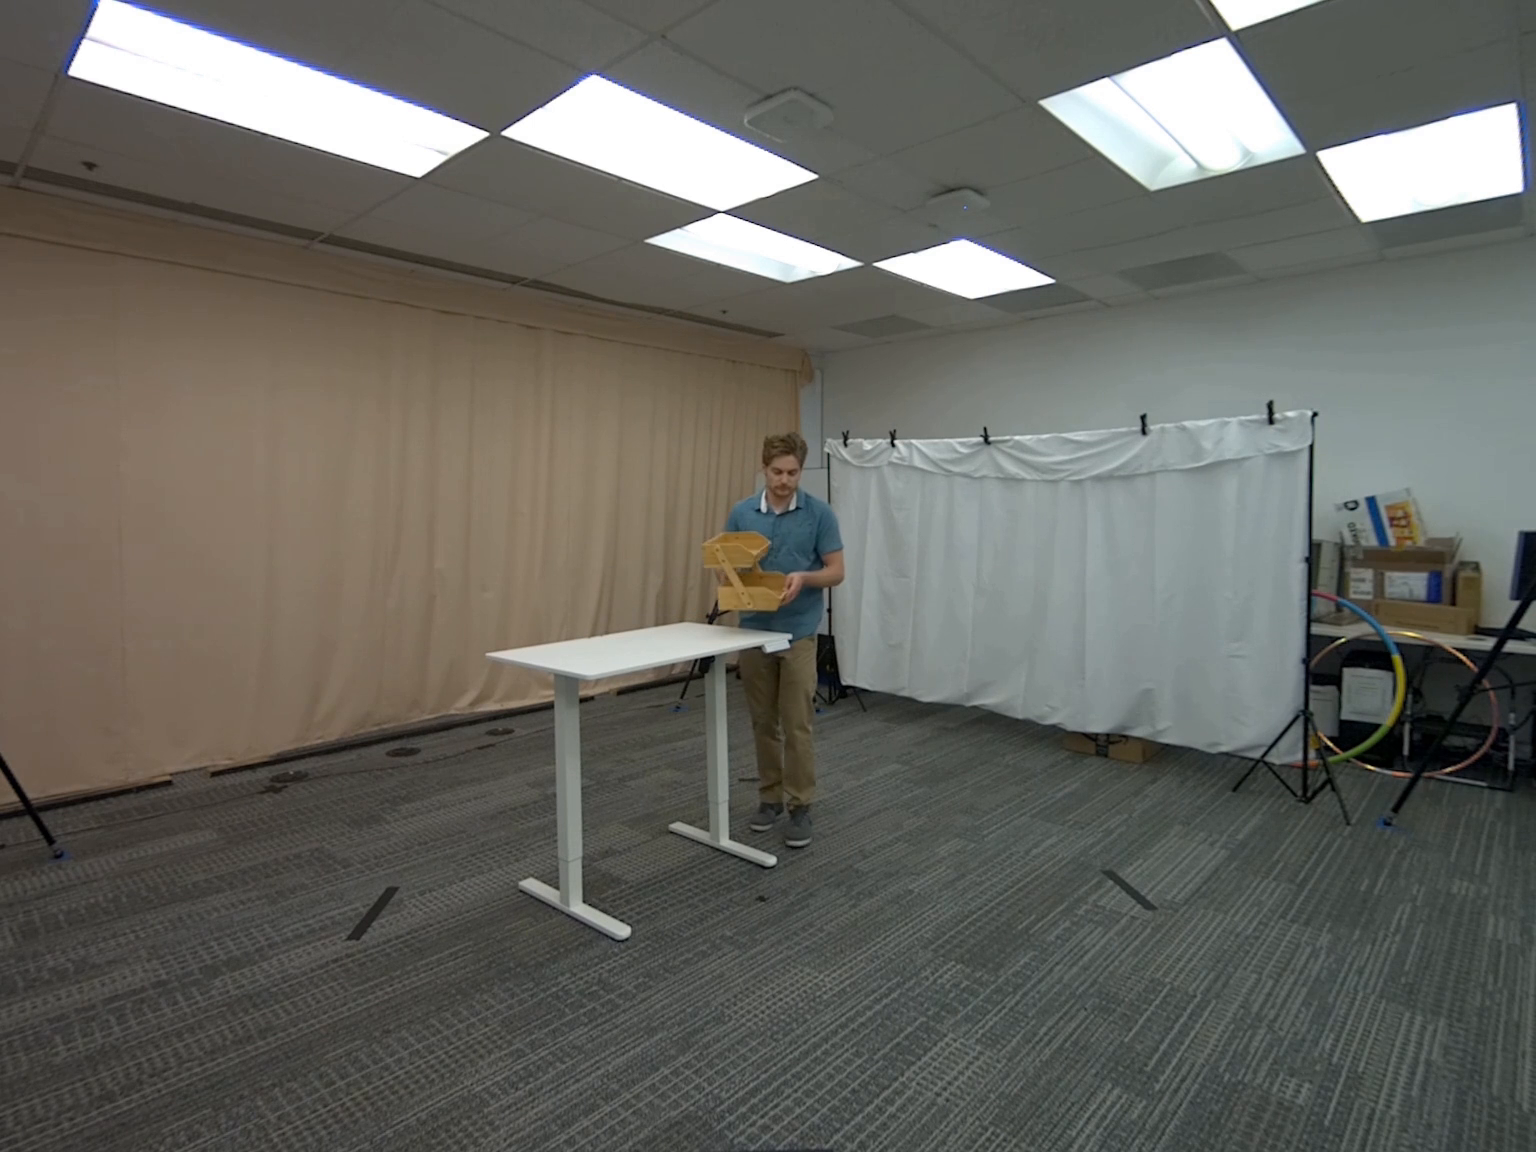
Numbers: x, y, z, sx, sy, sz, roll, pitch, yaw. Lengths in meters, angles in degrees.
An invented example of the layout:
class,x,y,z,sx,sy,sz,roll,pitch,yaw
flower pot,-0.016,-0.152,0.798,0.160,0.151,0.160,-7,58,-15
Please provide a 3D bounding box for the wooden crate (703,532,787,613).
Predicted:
class,x,y,z,sx,sy,sz,roll,pitch,yaw
wooden crate,-0.059,-0.027,3.382,0.307,0.271,0.321,-1,10,15
